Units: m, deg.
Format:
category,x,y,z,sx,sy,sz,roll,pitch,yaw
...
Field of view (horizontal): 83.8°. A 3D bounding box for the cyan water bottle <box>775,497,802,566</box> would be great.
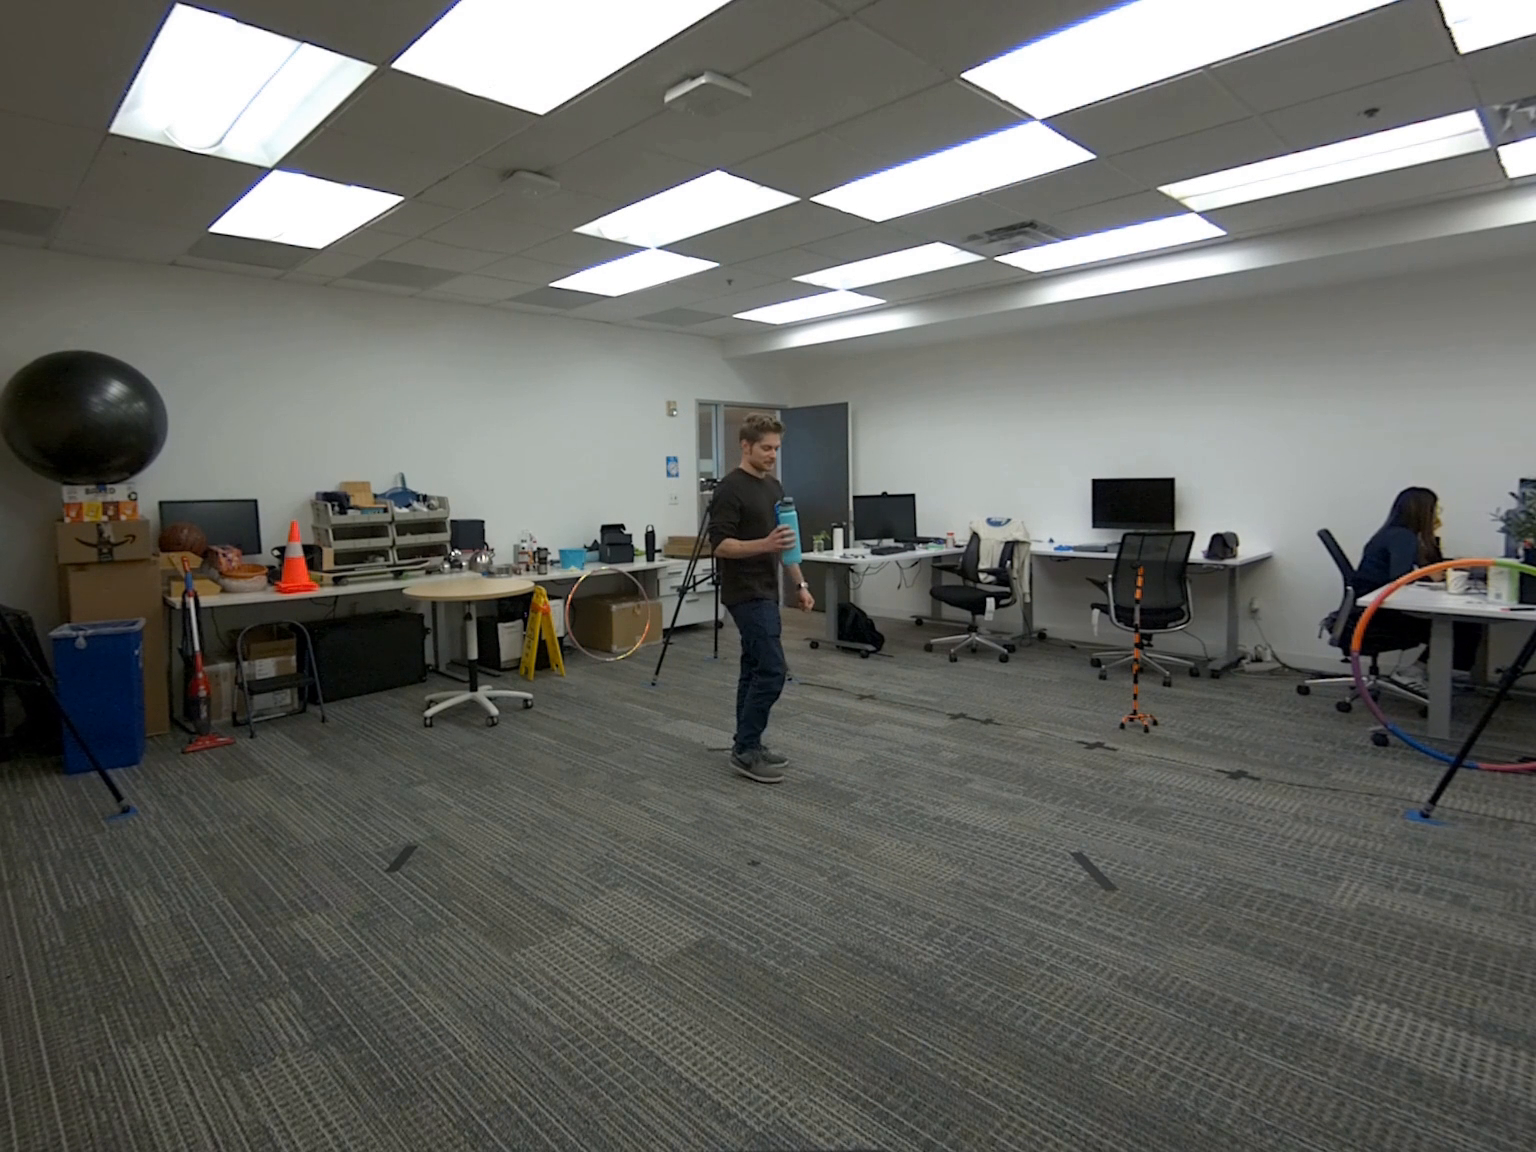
category,x,y,z,sx,sy,sz,roll,pitch,yaw
cyan water bottle,0.088,-0.199,3.725,0.092,0.279,0.093,-7,13,0
